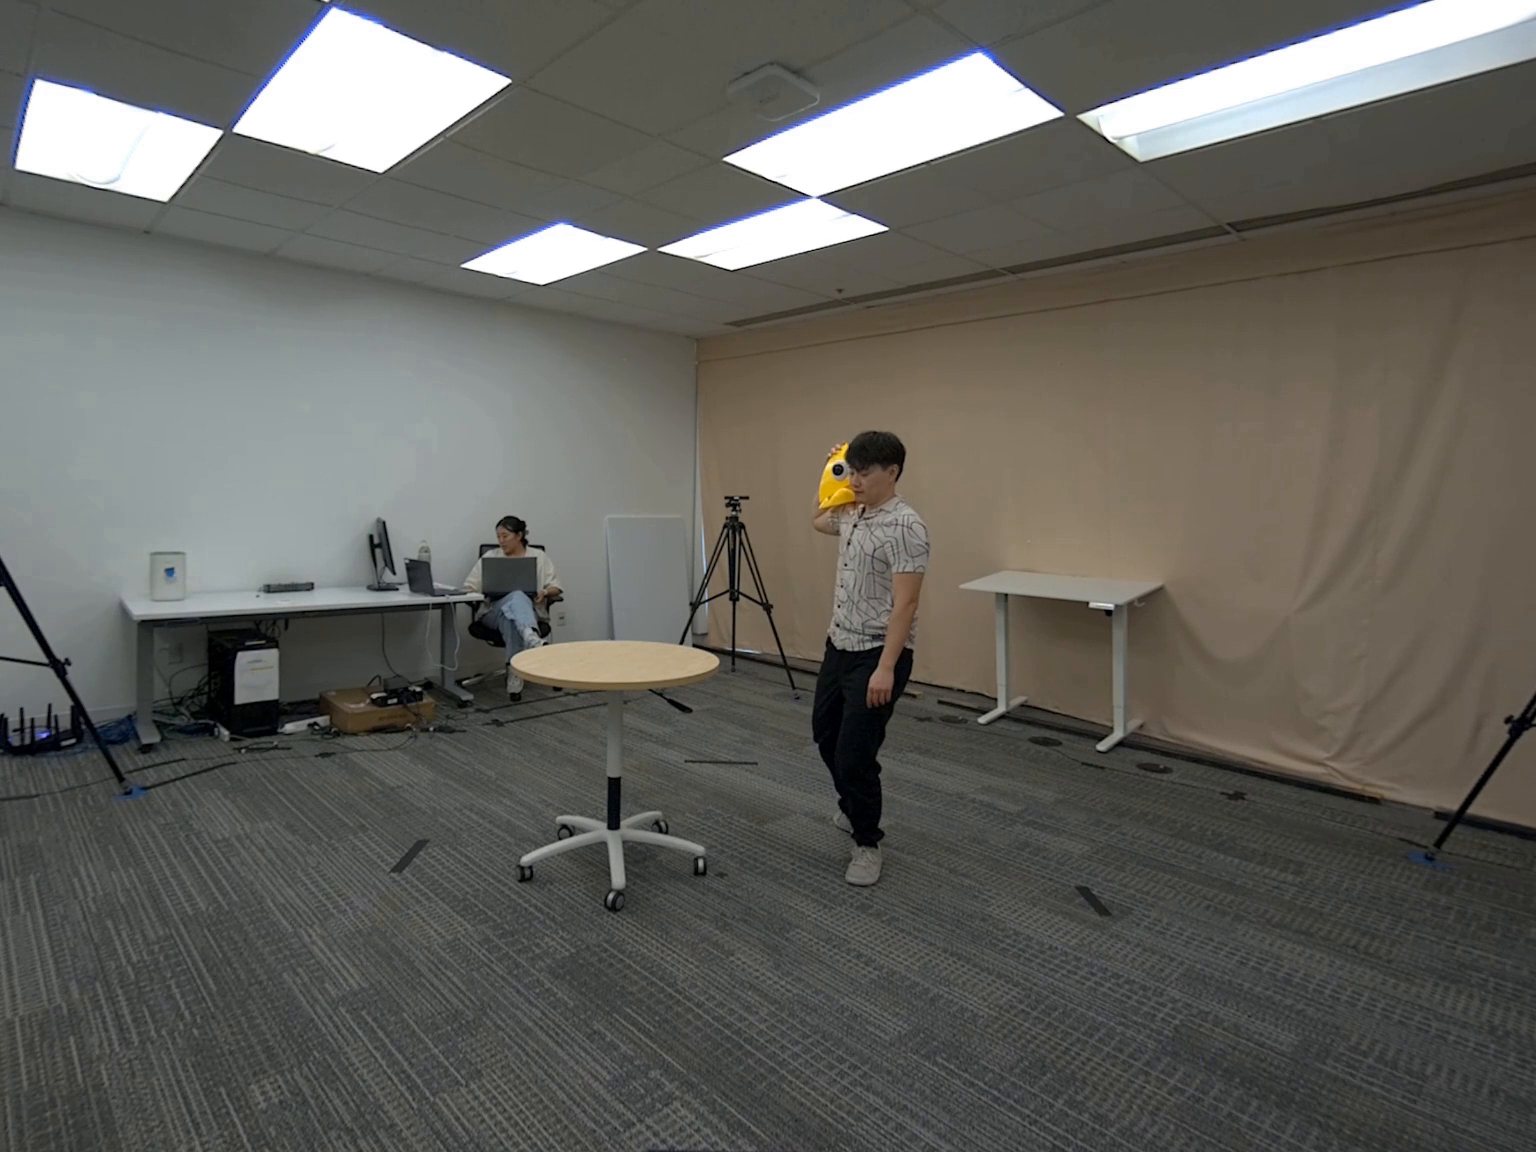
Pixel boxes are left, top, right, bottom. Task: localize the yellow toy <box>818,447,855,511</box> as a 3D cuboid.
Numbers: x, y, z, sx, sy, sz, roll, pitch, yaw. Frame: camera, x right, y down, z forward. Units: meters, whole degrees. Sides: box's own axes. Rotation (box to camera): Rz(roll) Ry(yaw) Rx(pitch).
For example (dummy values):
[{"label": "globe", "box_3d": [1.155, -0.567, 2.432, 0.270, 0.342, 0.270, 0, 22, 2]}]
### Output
[{"label": "yellow toy", "box_3d": [0.270, -0.400, 3.325, 0.192, 0.231, 0.205, -13, 0, -7]}]
